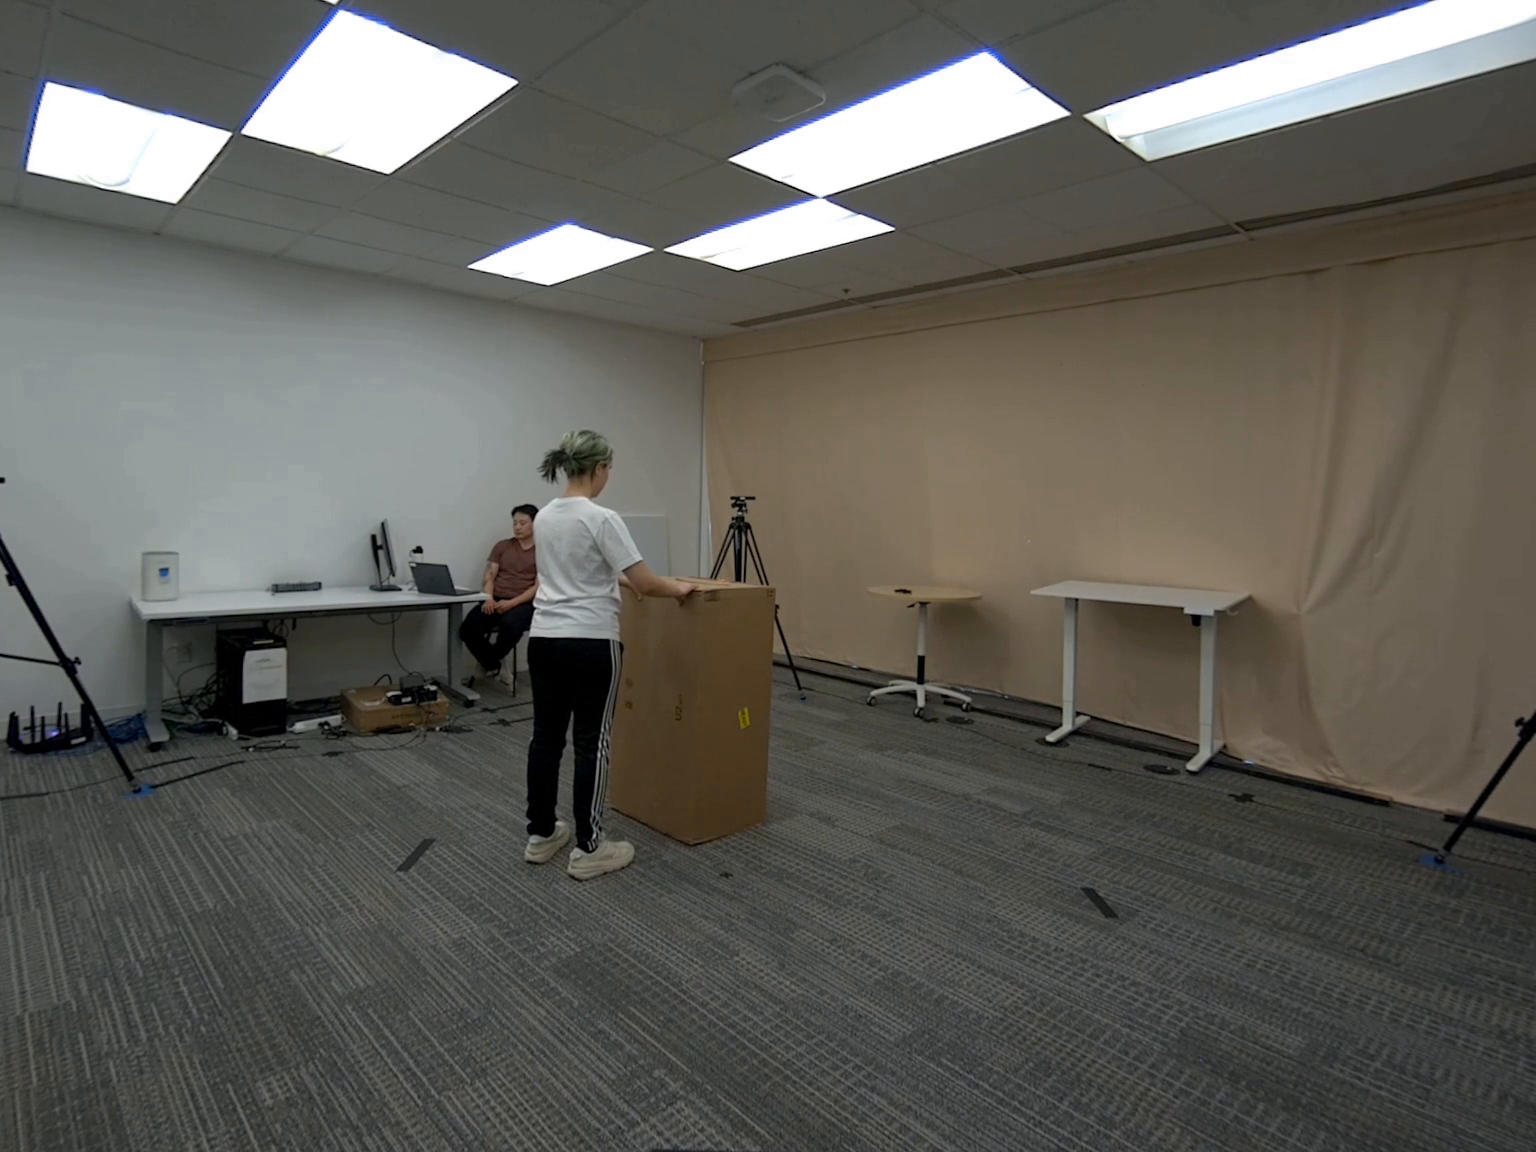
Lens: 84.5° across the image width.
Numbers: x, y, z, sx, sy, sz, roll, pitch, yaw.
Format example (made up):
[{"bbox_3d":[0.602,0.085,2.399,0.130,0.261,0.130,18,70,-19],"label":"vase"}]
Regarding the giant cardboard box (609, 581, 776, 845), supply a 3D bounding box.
[{"bbox_3d":[-0.339,0.541,3.679,0.599,1.025,0.436,4,3,45],"label":"giant cardboard box"}]
